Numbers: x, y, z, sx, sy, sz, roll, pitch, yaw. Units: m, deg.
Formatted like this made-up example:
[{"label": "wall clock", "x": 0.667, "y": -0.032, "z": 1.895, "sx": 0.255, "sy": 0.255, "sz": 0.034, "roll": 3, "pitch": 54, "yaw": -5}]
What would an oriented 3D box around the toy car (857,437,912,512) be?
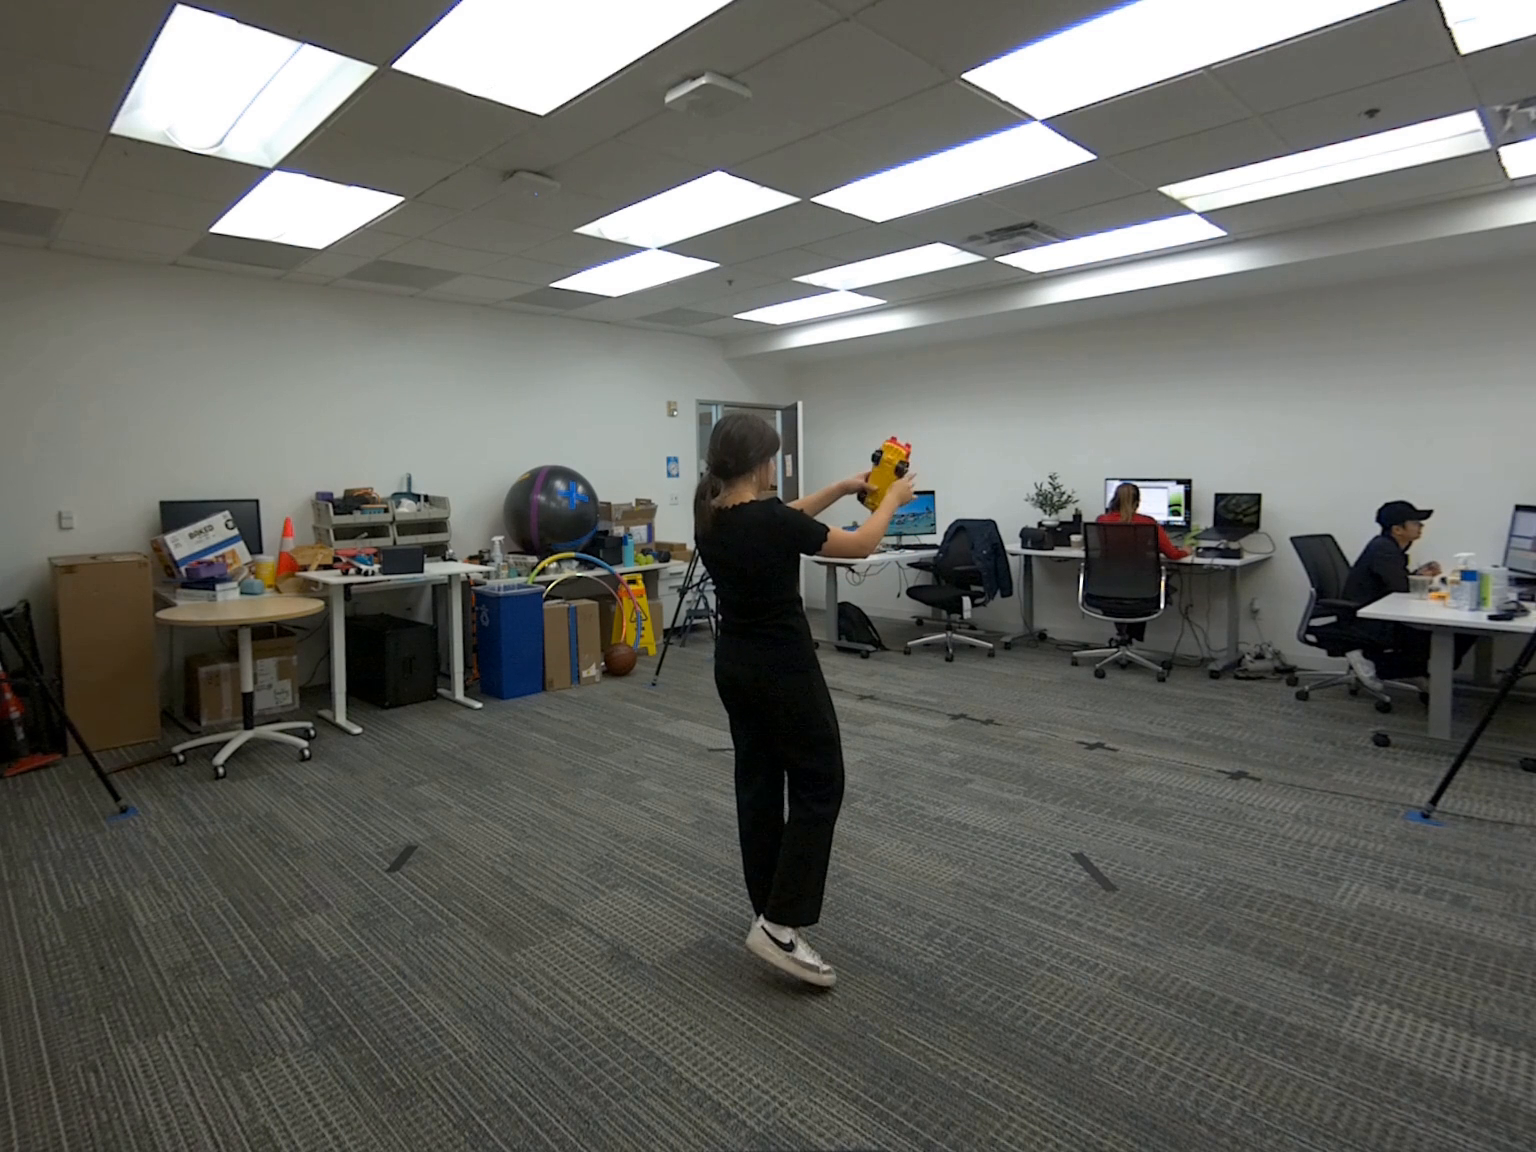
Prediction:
[{"label": "toy car", "x": 0.381, "y": -0.323, "z": 2.737, "sx": 0.135, "sy": 0.252, "sz": 0.081, "roll": 32, "pitch": 19, "yaw": 28}]
